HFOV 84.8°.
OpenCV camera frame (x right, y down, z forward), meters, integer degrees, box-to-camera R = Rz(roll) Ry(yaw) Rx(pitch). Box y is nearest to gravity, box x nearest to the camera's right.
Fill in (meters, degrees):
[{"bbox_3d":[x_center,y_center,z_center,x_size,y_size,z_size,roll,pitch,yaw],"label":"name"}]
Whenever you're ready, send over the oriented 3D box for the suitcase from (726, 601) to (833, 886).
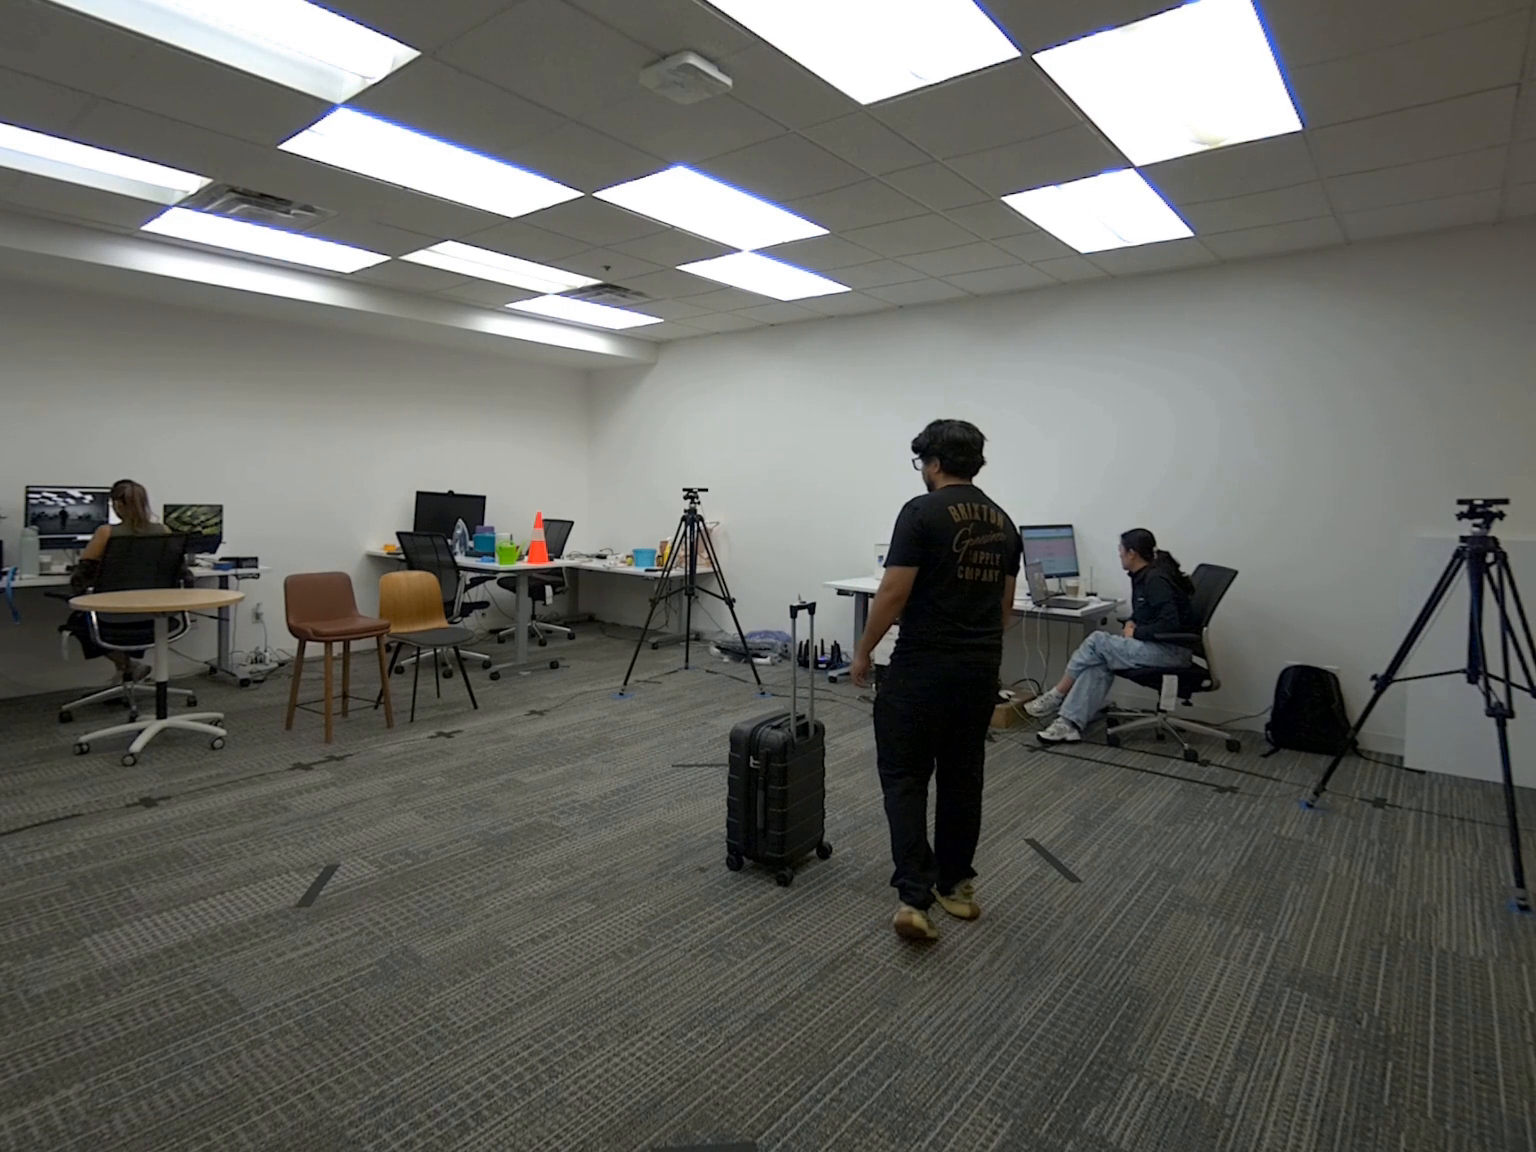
[{"bbox_3d":[0.023,0.589,3.171,0.265,0.978,0.373,-1,1,34],"label":"suitcase"}]
